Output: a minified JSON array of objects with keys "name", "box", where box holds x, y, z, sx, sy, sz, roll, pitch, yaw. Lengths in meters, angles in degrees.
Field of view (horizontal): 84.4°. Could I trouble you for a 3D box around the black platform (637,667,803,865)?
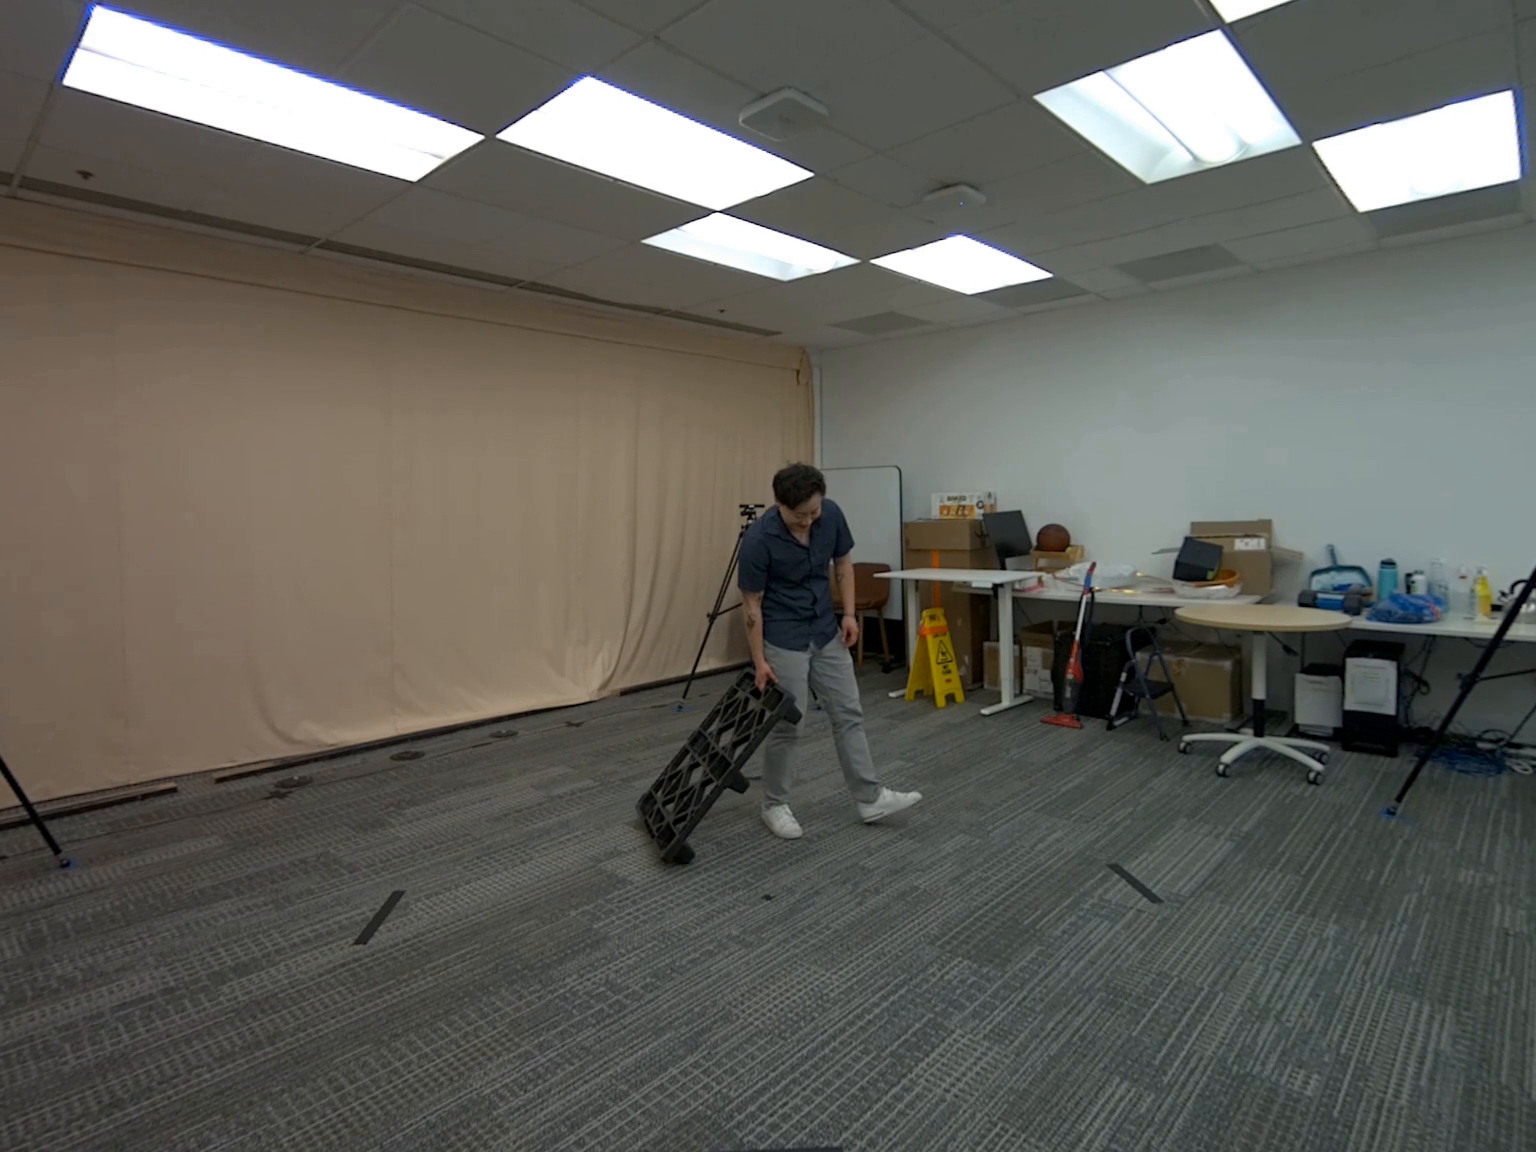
[{"name":"black platform","box":[-0.203,0.782,3.527,0.141,0.804,0.616,40,-7,-16]}]
